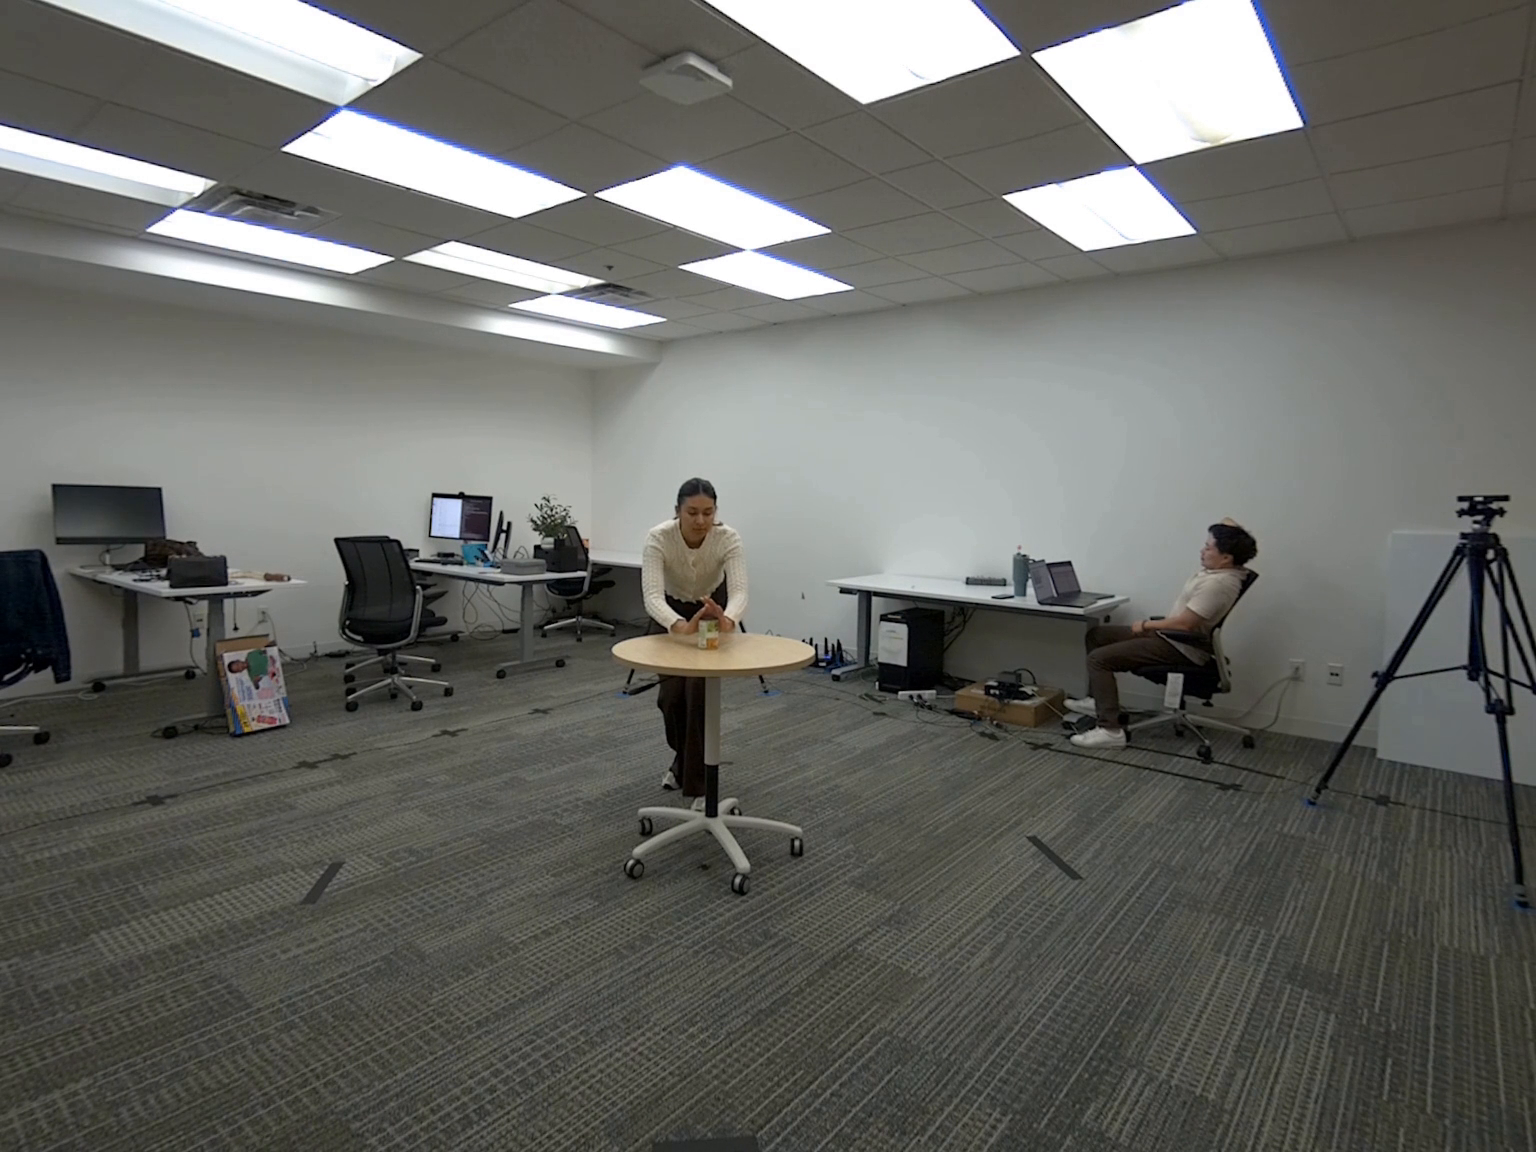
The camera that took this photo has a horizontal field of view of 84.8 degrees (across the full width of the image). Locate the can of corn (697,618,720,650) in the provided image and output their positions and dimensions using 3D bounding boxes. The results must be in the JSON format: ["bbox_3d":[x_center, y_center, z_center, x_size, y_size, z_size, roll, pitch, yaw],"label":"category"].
[{"bbox_3d":[-0.238,0.215,3.213,0.074,0.111,0.074,1,3,-2],"label":"can of corn"}]
